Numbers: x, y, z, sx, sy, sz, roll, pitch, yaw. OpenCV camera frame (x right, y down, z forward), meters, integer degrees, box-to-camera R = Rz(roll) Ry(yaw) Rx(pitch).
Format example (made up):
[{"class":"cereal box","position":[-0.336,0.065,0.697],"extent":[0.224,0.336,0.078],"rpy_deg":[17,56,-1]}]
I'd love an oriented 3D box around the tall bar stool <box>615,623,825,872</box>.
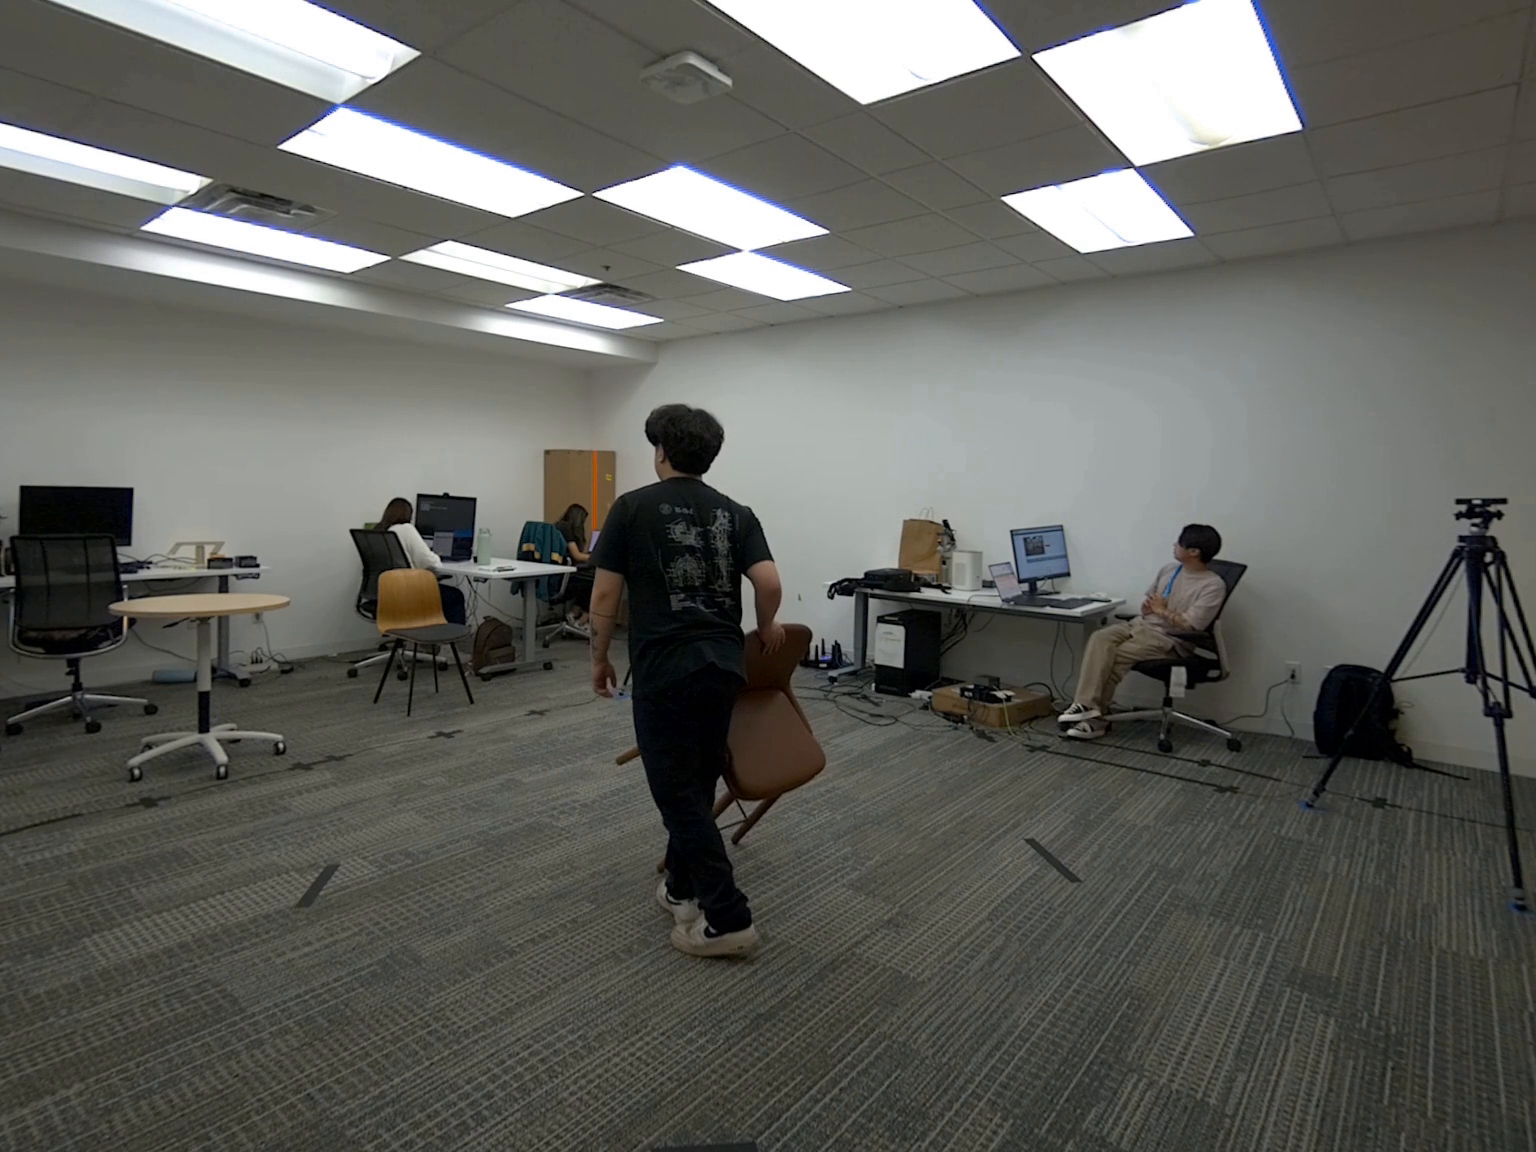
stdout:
[{"class":"tall bar stool","position":[-0.124,0.616,3.064],"extent":[0.442,0.483,0.889],"rpy_deg":[-1,-38,-46]}]
